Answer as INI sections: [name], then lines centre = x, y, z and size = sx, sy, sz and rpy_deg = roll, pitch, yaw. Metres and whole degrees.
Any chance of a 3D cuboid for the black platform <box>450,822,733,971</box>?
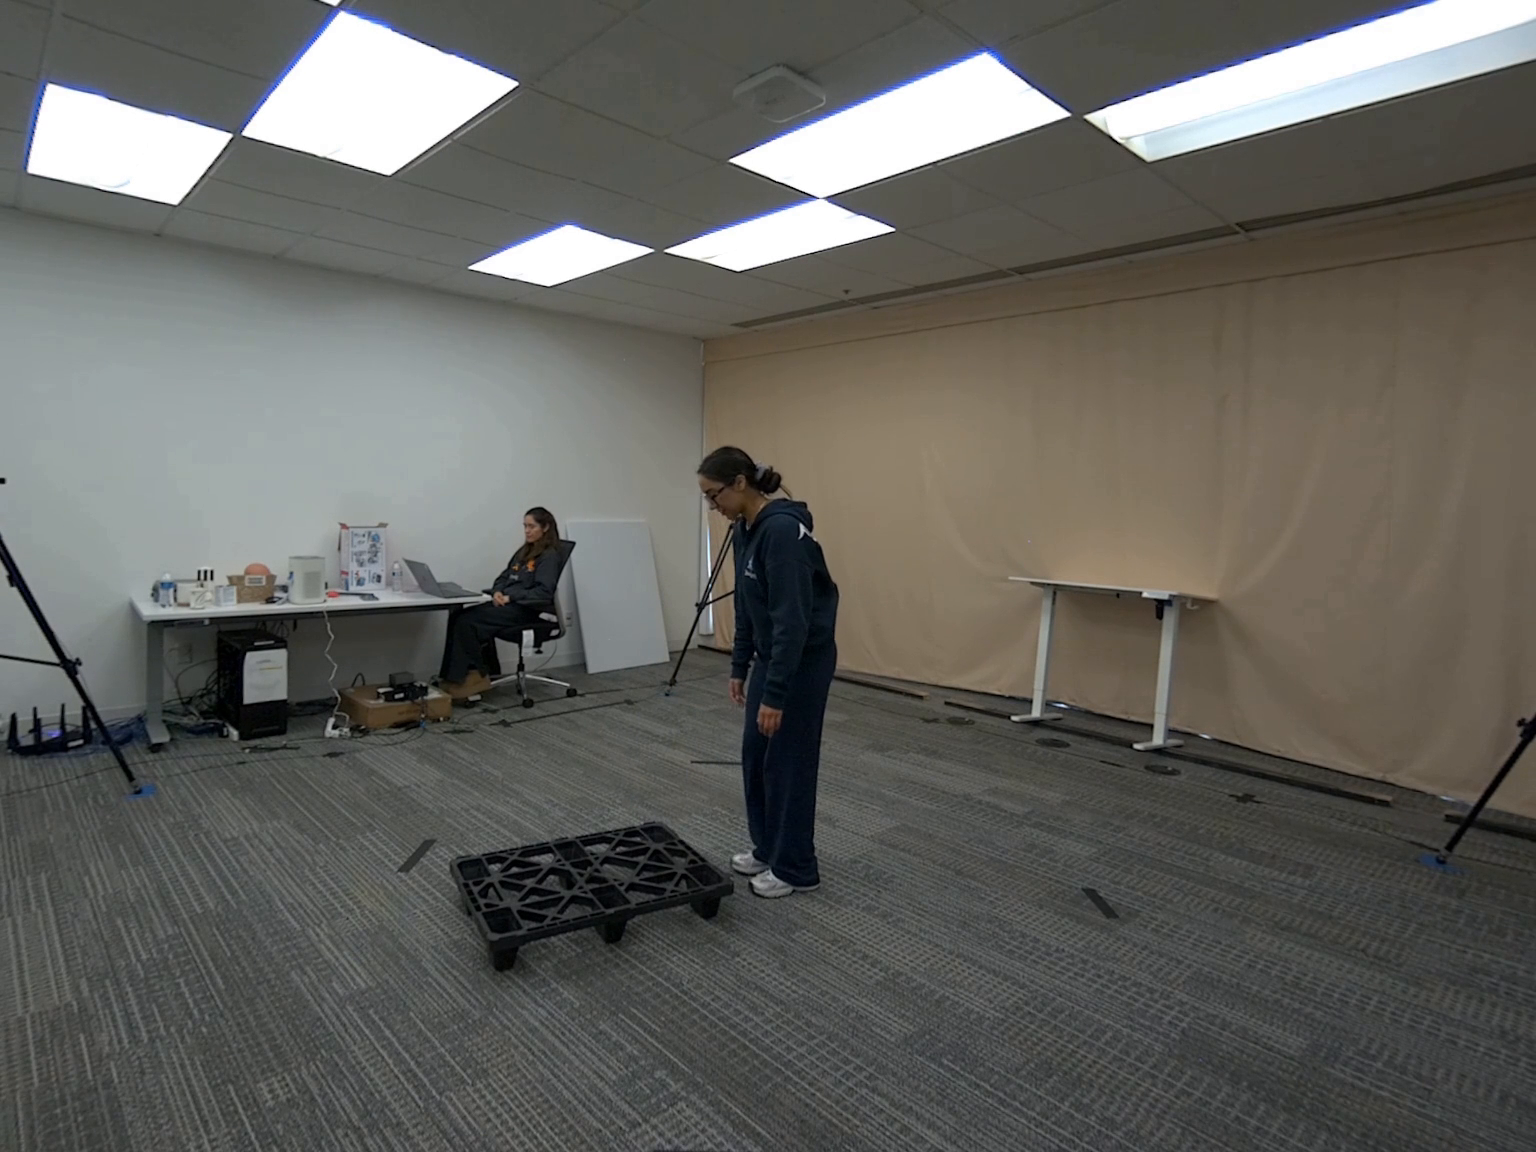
[black platform]
centre = -0.600, 1.057, 2.815
size = 0.789, 0.143, 0.619
rpy_deg = -2, 7, -31
